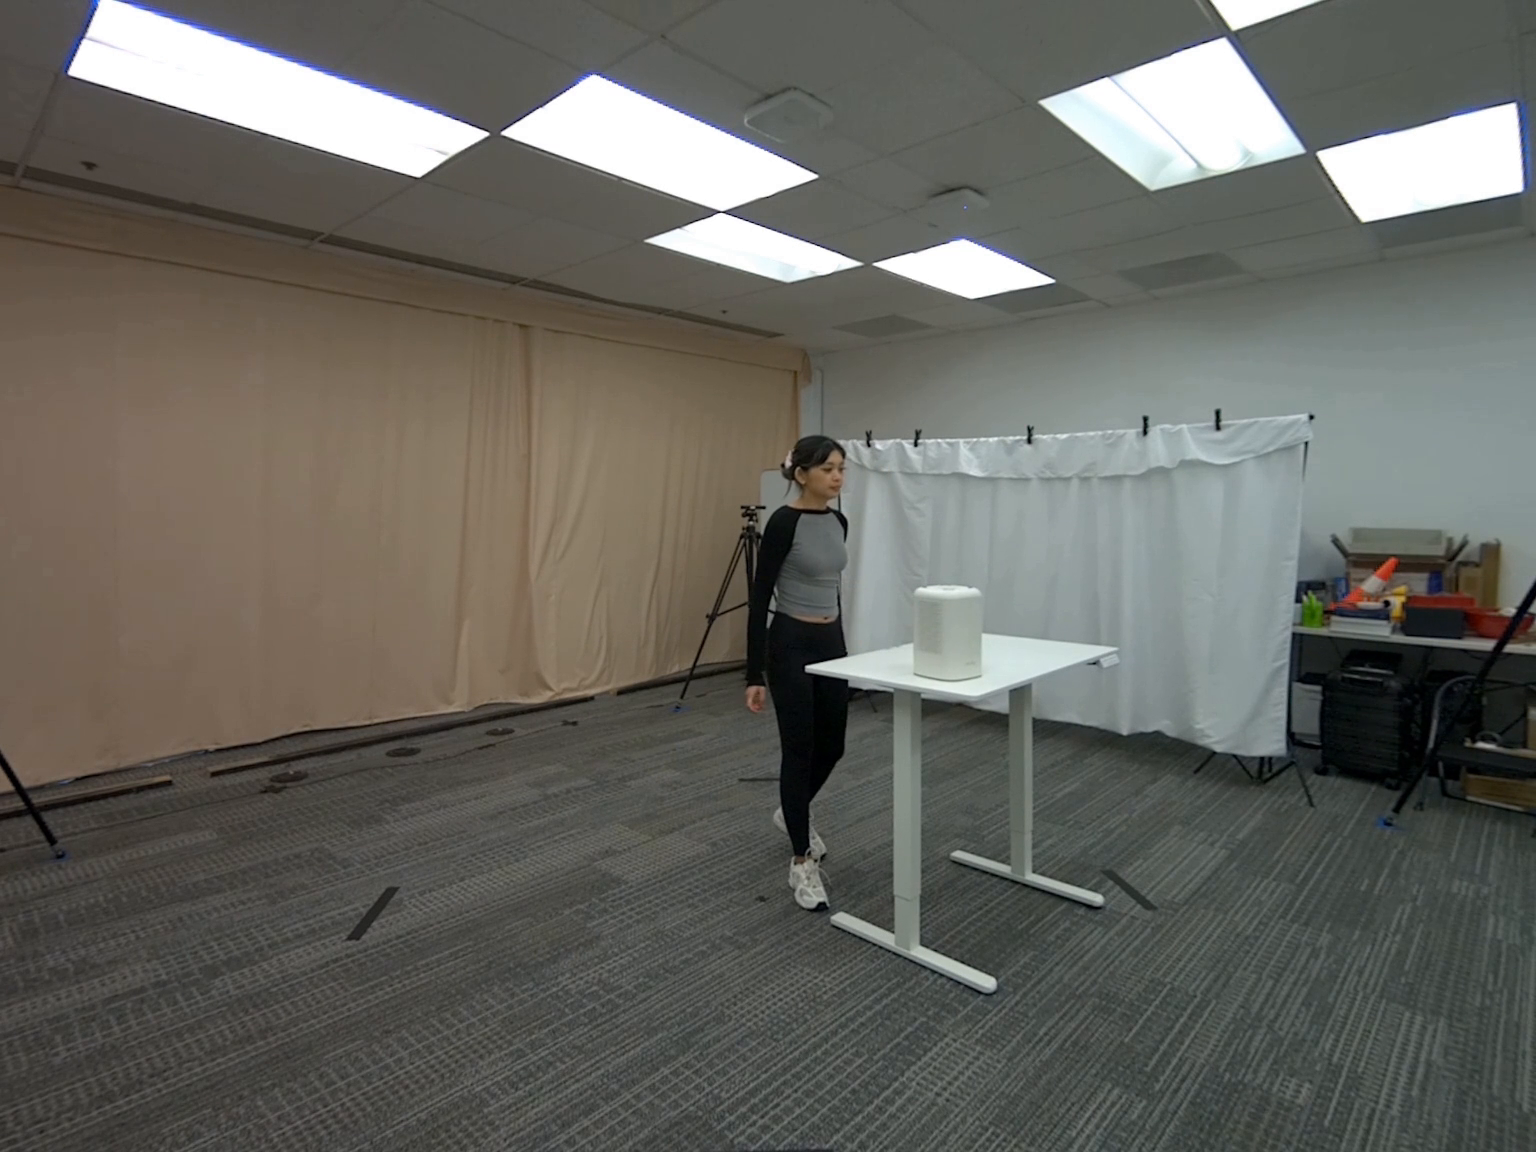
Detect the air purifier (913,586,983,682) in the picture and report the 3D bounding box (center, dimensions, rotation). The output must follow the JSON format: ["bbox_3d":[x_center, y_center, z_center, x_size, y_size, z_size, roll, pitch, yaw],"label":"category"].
[{"bbox_3d":[0.543,0.167,2.524,0.166,0.265,0.177,-4,4,-34],"label":"air purifier"}]
